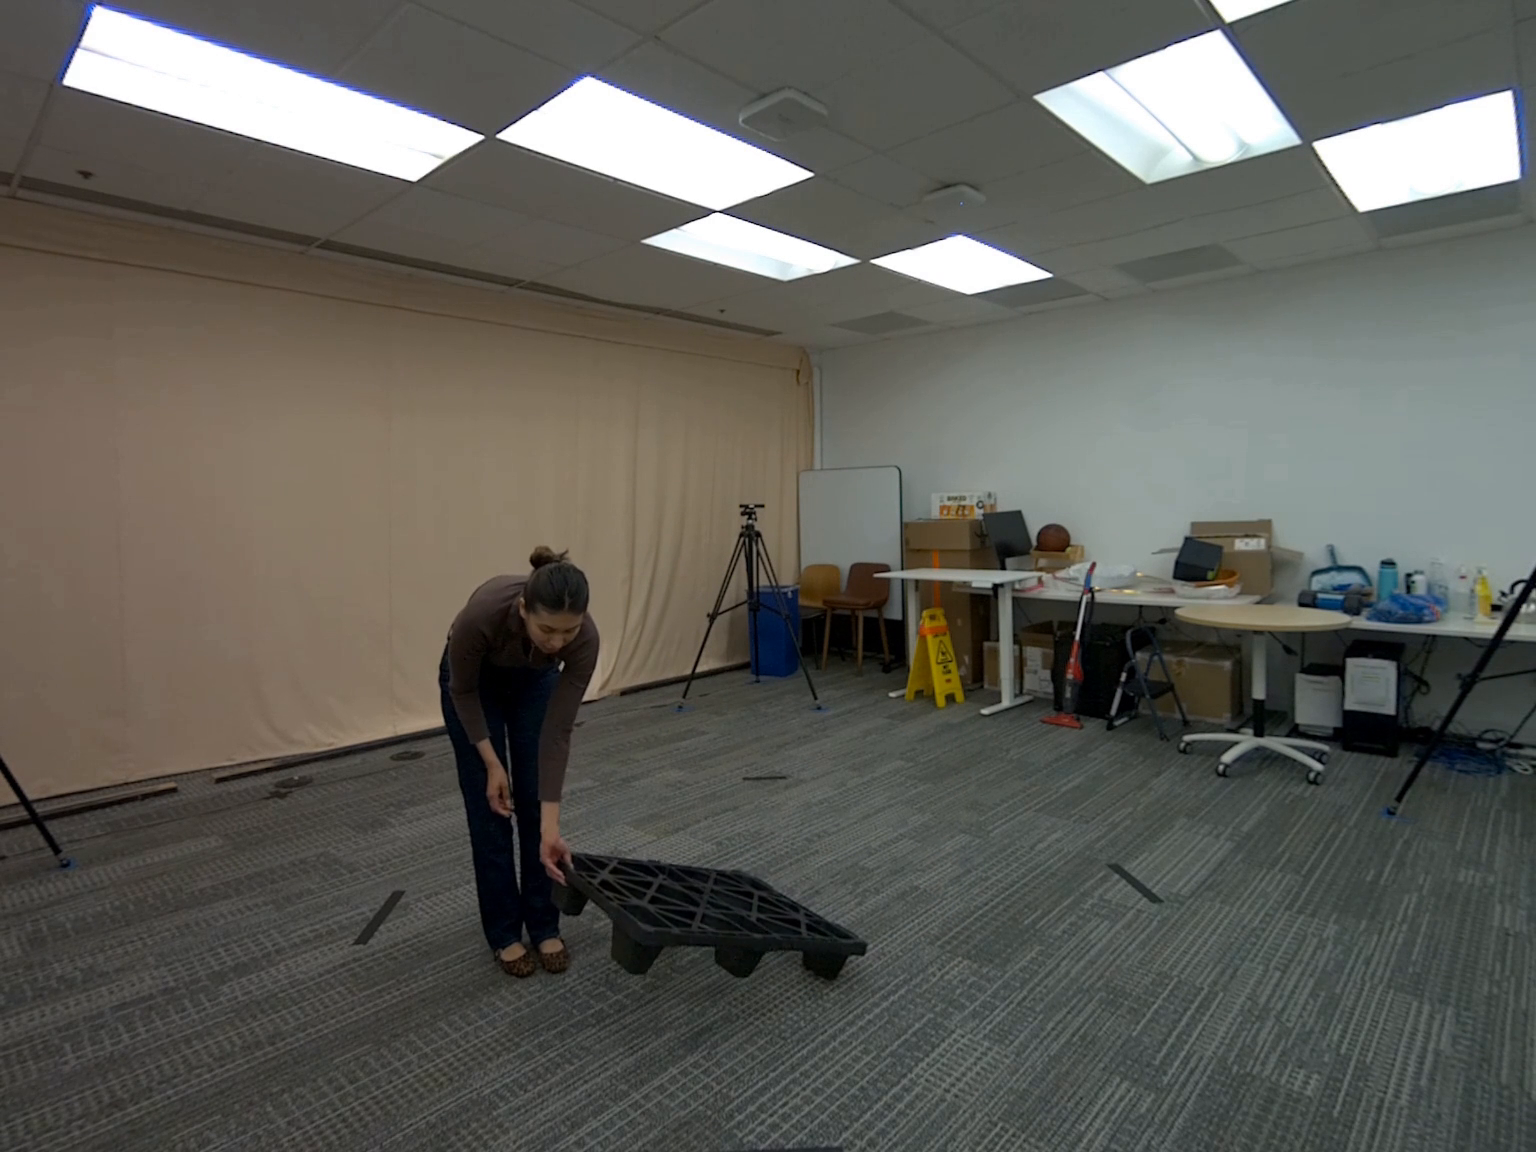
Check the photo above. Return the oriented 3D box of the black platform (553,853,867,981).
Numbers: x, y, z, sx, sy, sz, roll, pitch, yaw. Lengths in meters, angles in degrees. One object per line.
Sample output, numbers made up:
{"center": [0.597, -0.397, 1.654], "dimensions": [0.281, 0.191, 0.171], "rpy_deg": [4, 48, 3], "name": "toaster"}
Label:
{"center": [-0.203, 1.004, 2.453], "dimensions": [0.778, 0.144, 0.624], "rpy_deg": [22, -10, -35], "name": "black platform"}
